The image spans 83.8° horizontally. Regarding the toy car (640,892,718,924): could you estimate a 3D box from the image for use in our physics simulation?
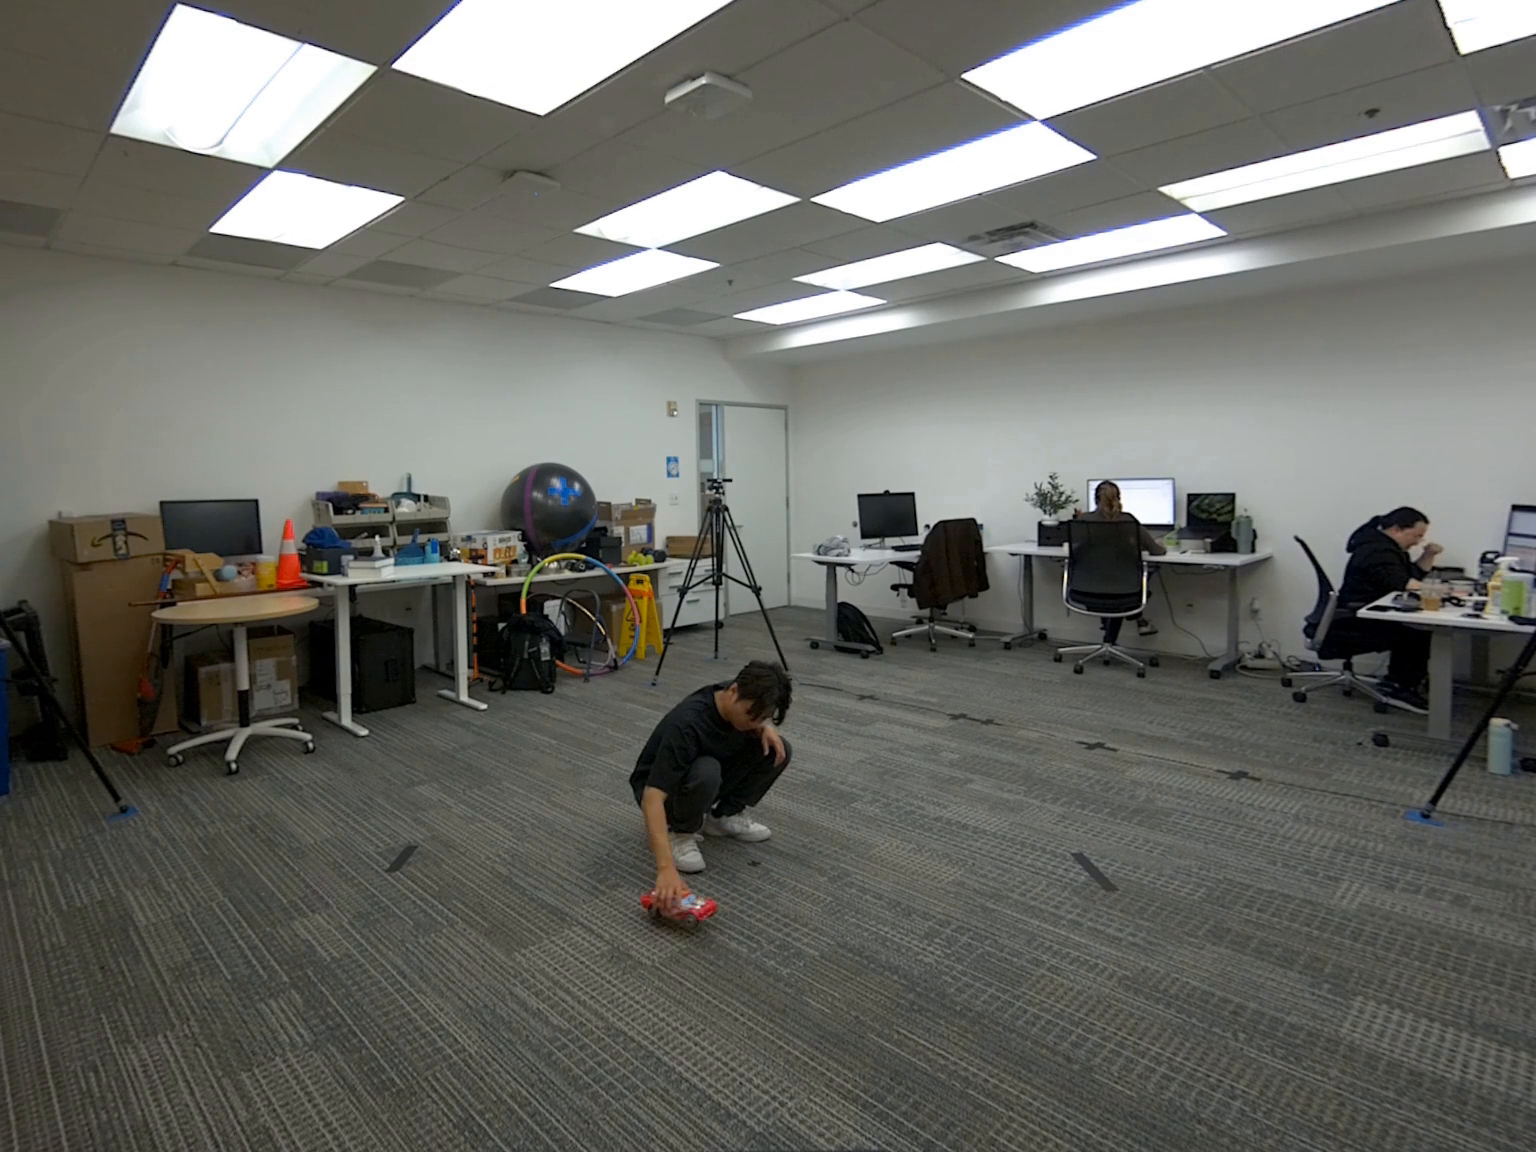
[{"bbox_3d":[-0.293,1.045,2.704,0.262,0.083,0.127,7,7,34],"label":"toy car"}]
